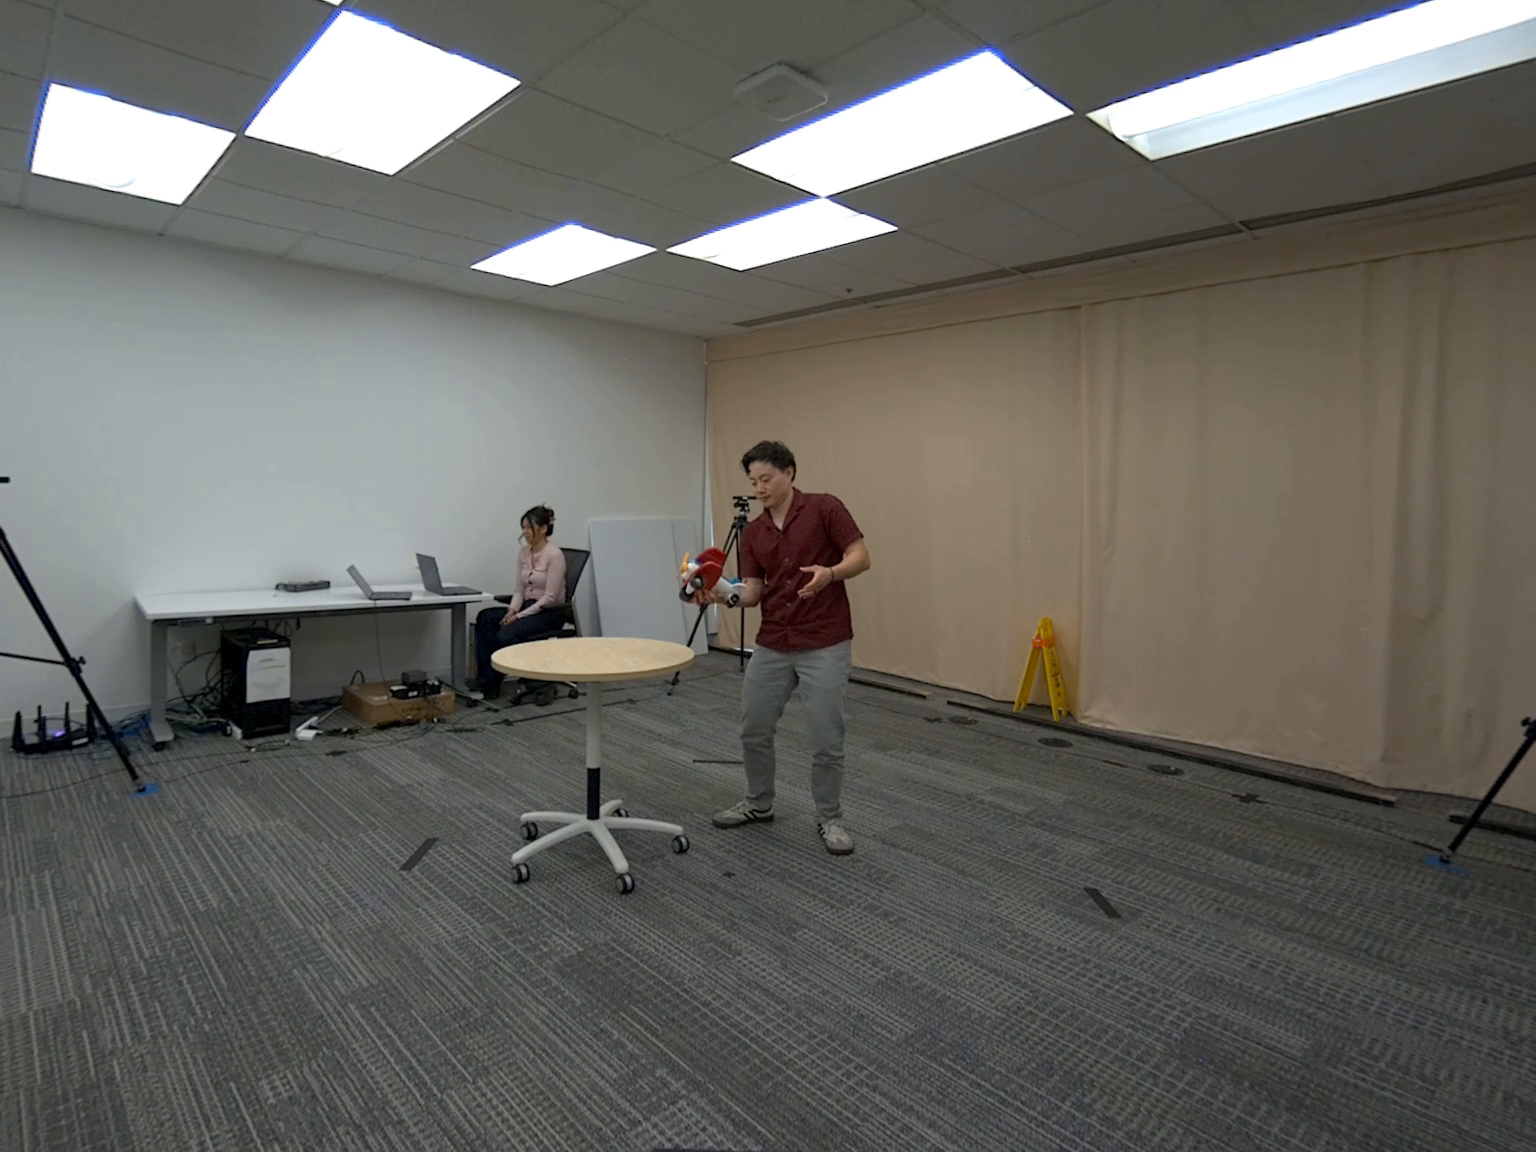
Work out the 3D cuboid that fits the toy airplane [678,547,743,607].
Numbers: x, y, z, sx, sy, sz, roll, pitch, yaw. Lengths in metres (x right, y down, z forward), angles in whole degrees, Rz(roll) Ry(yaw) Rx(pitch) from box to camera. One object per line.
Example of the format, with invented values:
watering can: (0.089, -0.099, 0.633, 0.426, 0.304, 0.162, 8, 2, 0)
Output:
toy airplane: (-0.233, 0.019, 3.210, 0.253, 0.160, 0.251, -24, -38, 21)
